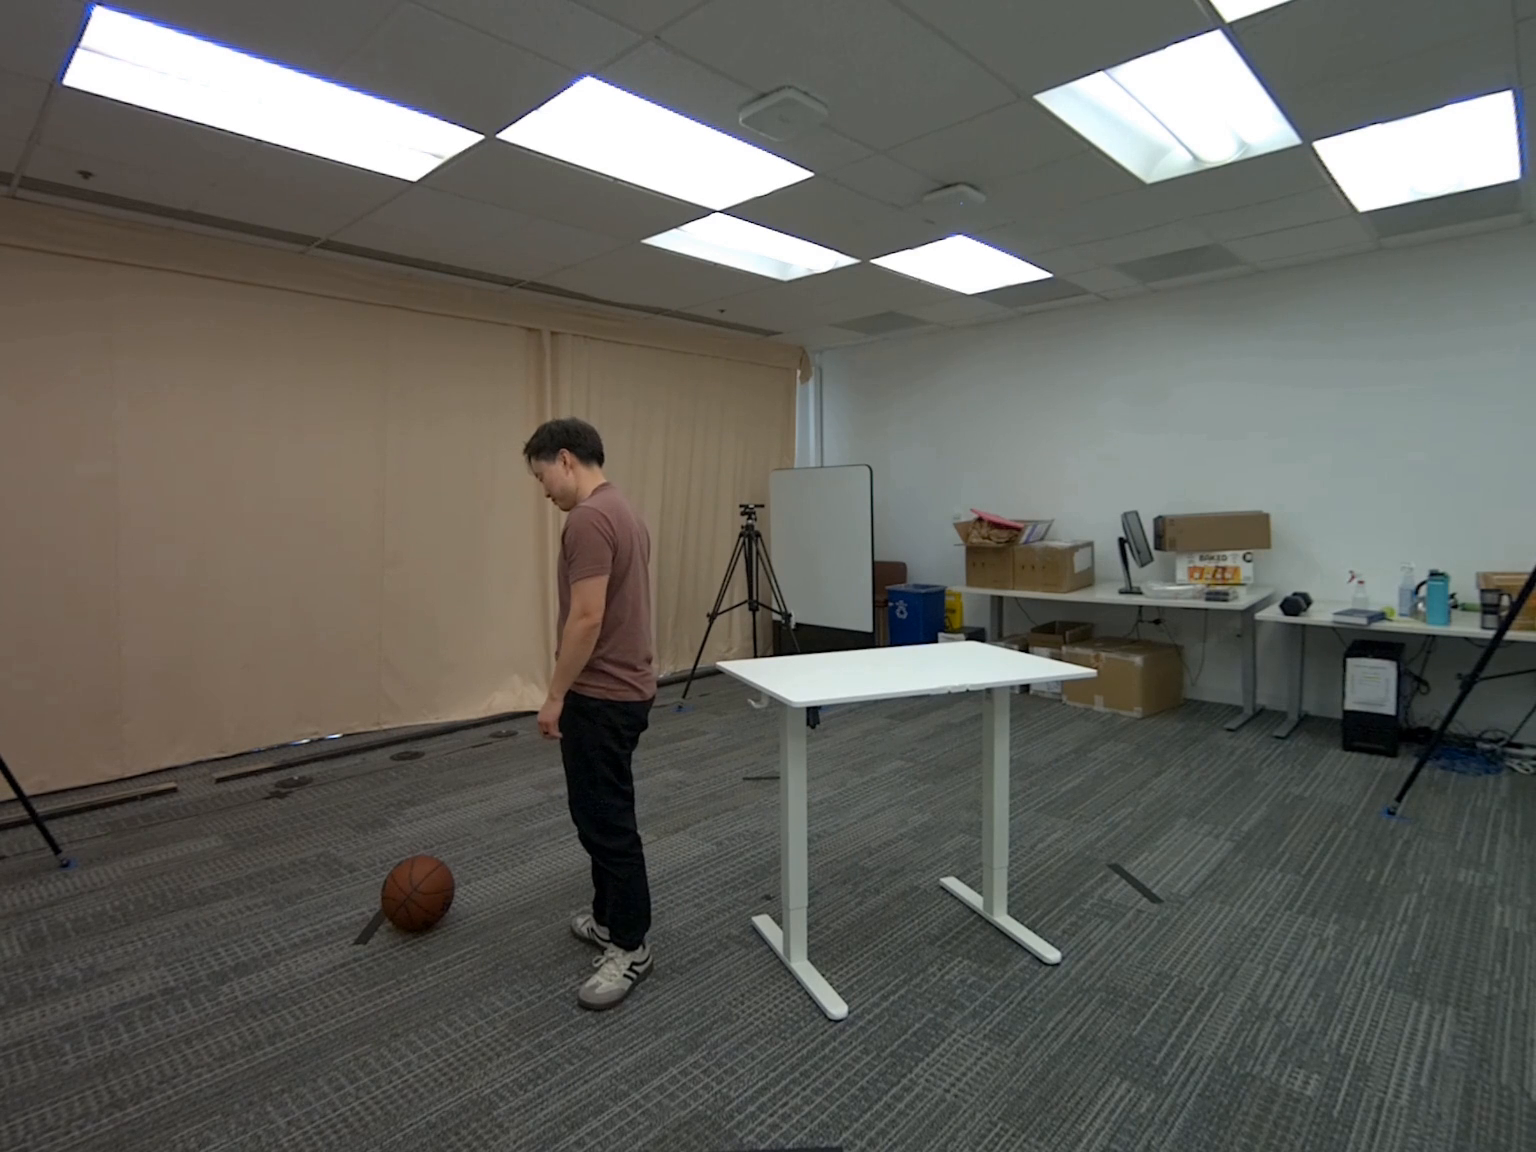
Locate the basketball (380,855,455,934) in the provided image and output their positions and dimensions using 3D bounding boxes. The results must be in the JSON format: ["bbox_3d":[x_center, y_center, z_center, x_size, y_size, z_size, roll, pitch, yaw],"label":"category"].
[{"bbox_3d":[-1.178,1.059,2.827,0.236,0.235,0.237,-1,4,-2],"label":"basketball"}]
